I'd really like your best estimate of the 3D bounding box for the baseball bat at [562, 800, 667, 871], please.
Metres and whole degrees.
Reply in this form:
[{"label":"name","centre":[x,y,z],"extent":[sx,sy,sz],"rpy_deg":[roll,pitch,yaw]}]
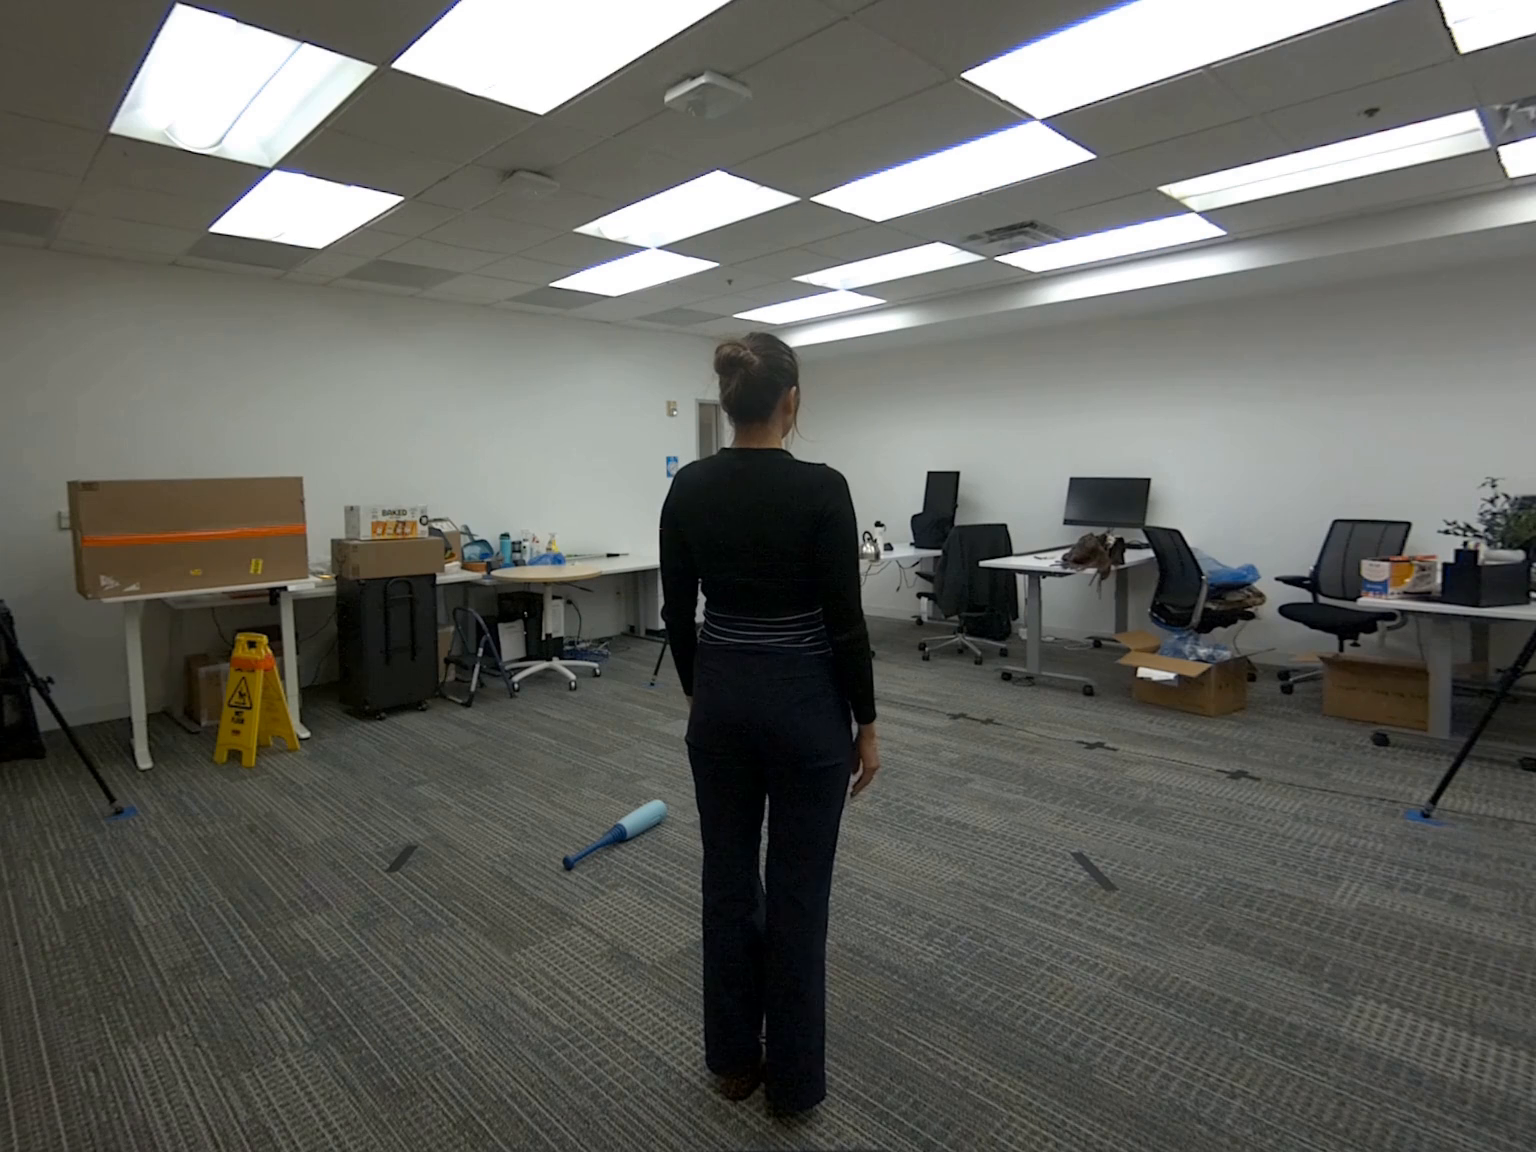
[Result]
[{"label":"baseball bat","centre":[-0.582,0.998,3.294],"extent":[0.091,0.088,0.532],"rpy_deg":[2,10,32]}]
